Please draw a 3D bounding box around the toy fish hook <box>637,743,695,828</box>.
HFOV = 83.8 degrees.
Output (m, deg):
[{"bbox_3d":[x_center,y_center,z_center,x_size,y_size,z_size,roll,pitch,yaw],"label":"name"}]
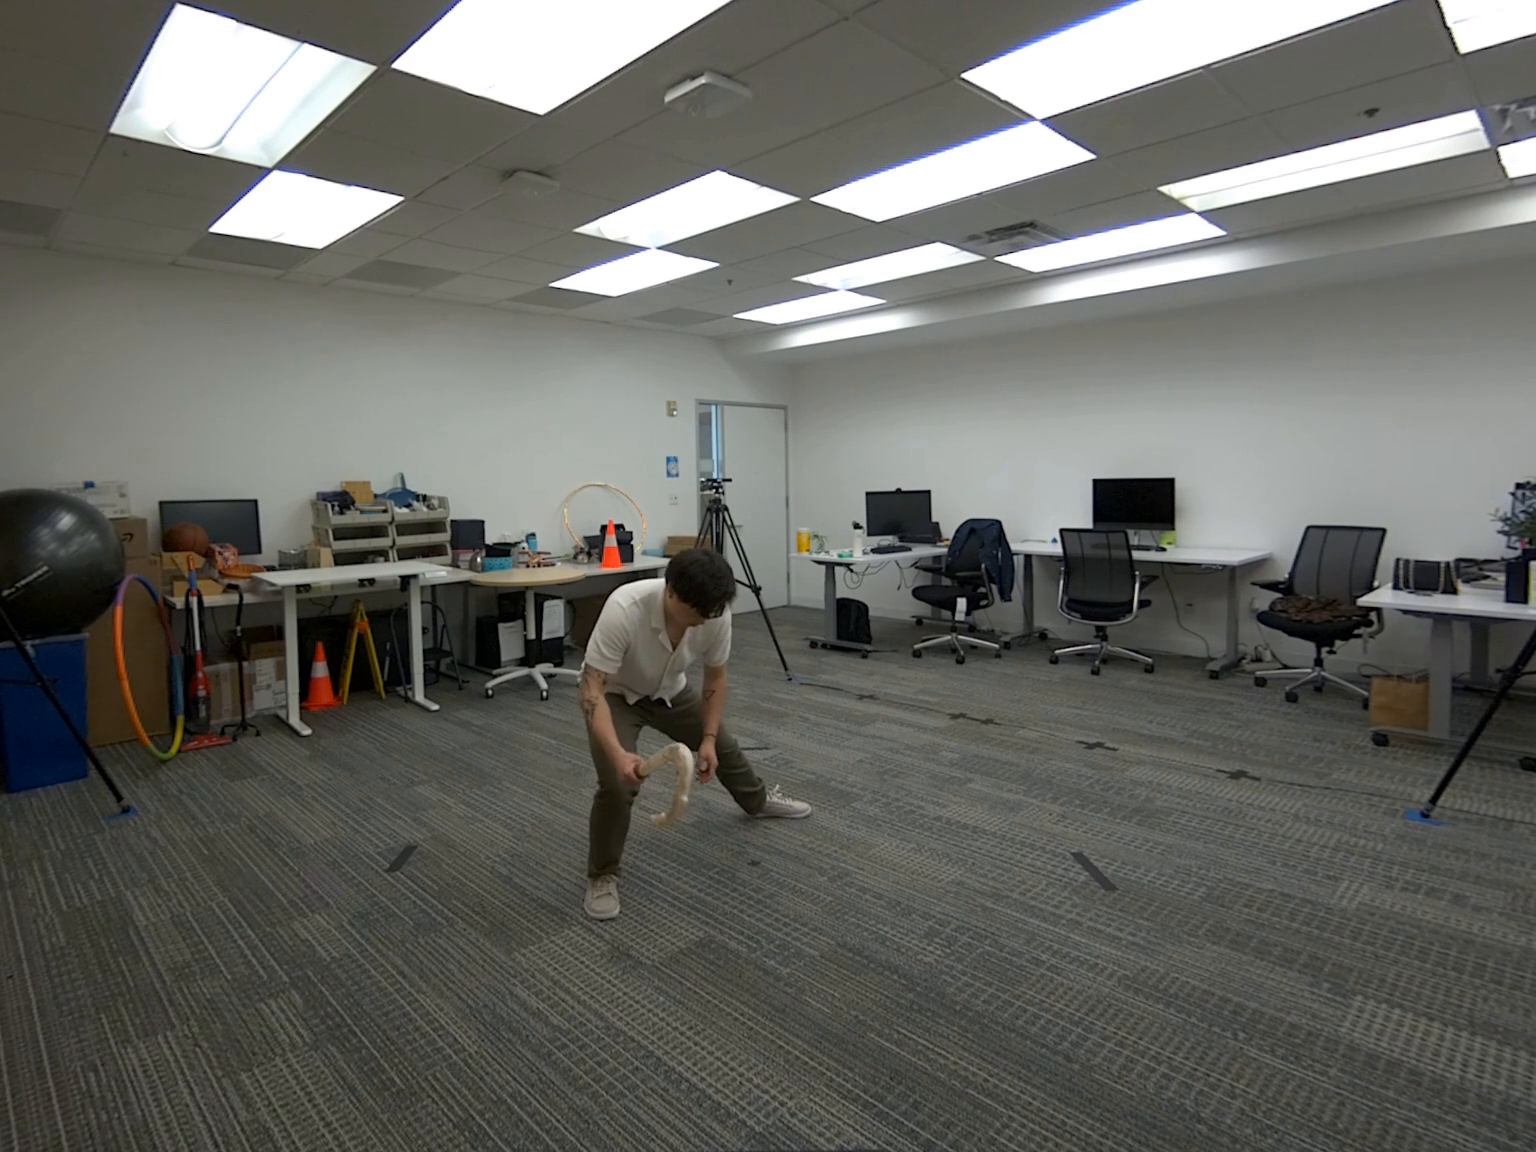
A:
[{"bbox_3d":[-0.336,0.605,2.425,0.047,0.228,0.512,21,-24,-24],"label":"toy fish hook"}]
